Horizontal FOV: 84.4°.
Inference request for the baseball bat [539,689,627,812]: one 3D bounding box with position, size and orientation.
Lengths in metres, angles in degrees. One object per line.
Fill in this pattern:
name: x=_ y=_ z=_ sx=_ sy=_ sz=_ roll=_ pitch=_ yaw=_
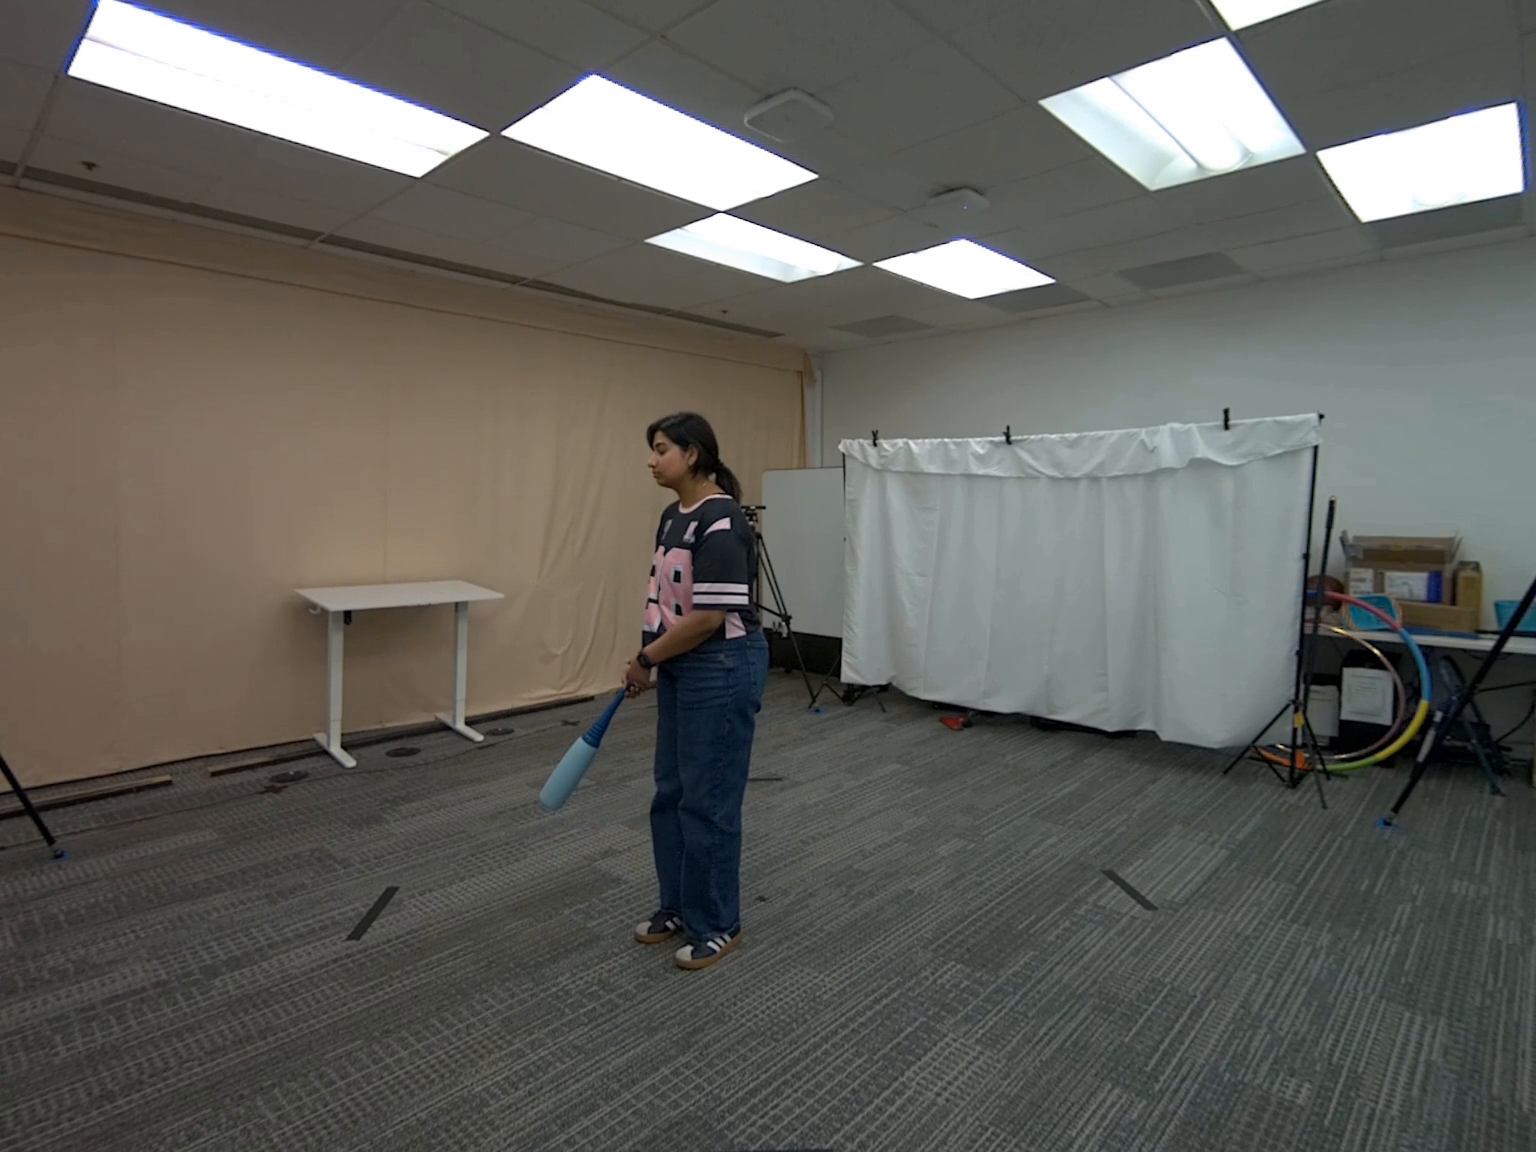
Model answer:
baseball bat: x=-0.559 y=0.526 z=2.723 sx=0.089 sy=0.543 sz=0.089 roll=34 pitch=1 yaw=-3
